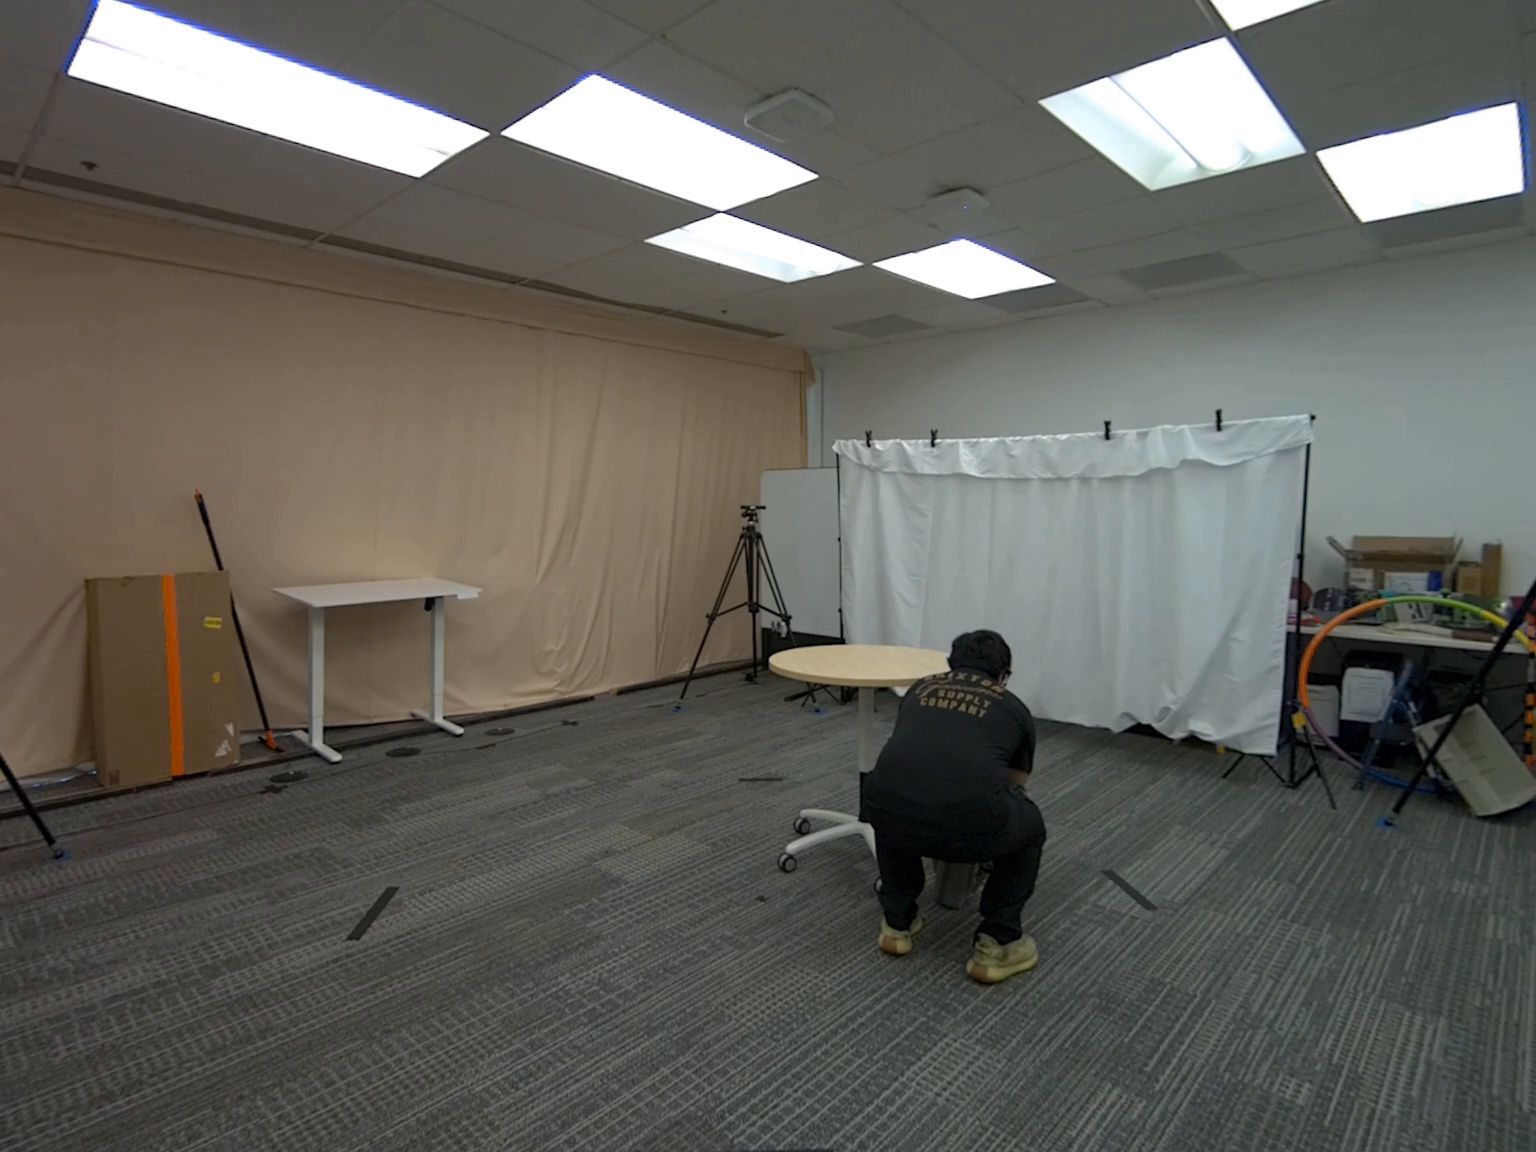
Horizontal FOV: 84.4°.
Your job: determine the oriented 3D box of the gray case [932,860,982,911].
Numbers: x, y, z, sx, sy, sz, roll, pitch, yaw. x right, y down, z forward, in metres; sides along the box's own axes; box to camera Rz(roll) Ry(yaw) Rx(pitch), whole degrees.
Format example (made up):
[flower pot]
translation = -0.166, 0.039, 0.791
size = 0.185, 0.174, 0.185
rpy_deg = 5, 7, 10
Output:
[gray case]
translation = 0.698, 1.016, 2.989
size = 0.107, 0.259, 0.250
rpy_deg = 14, 11, 29
